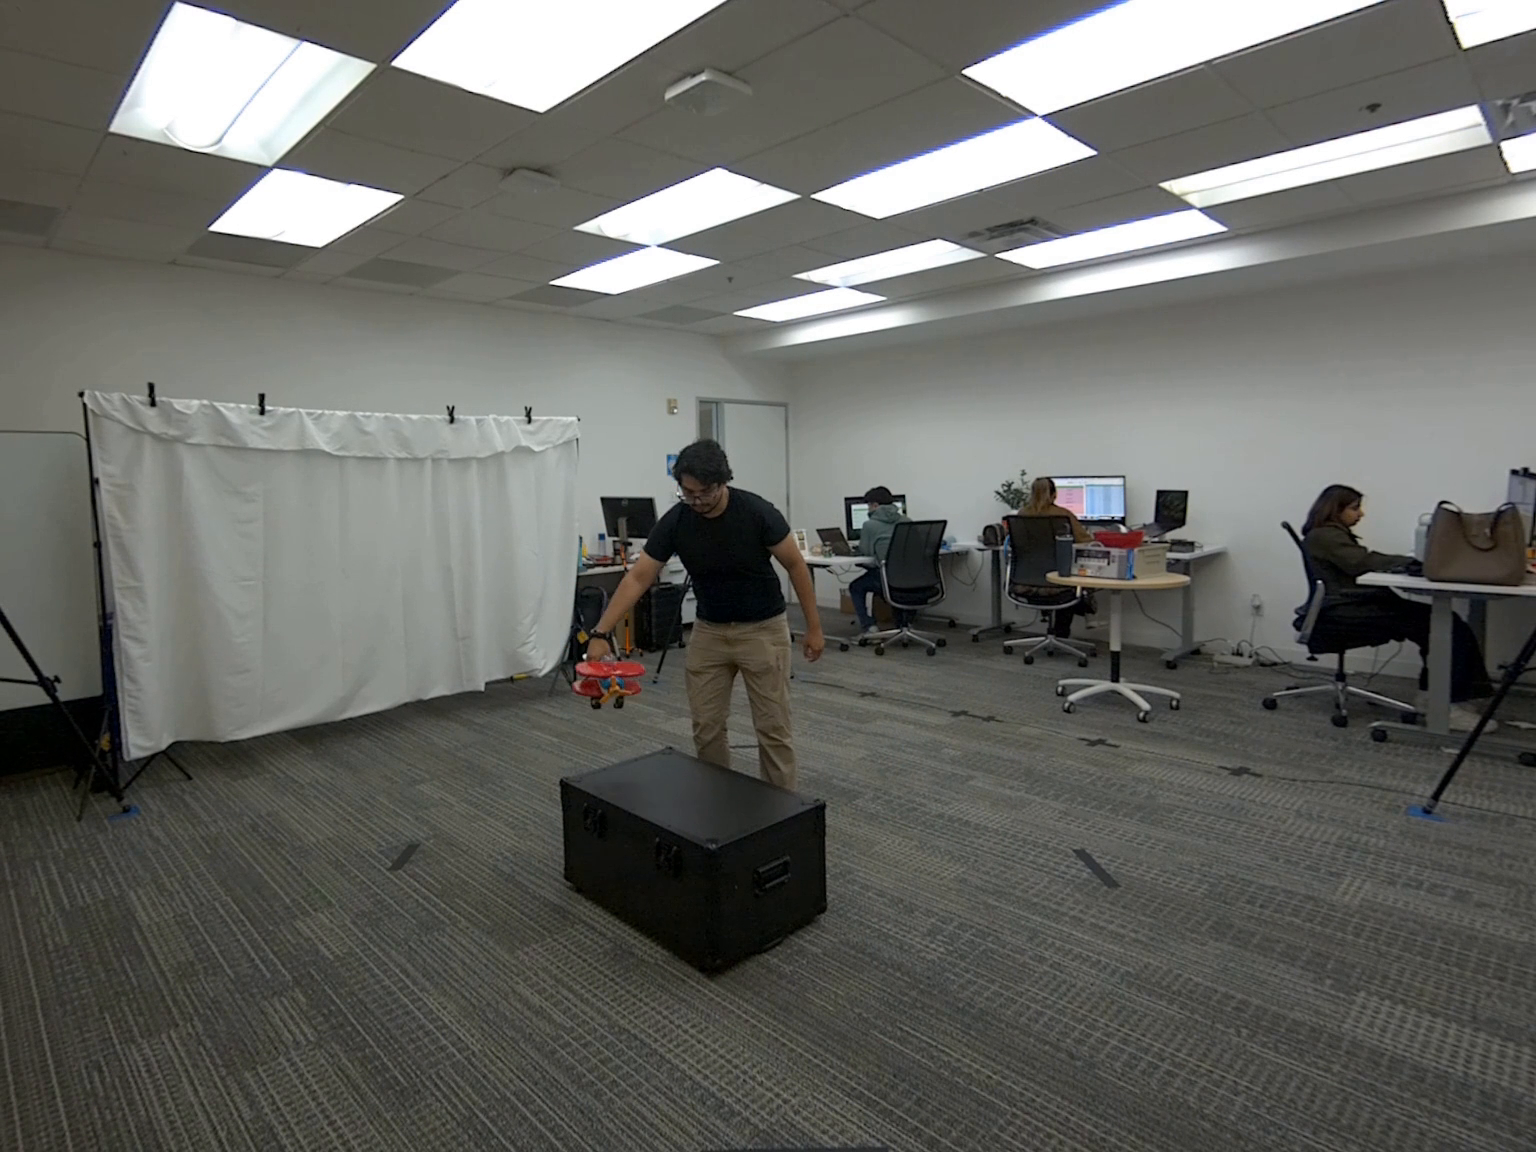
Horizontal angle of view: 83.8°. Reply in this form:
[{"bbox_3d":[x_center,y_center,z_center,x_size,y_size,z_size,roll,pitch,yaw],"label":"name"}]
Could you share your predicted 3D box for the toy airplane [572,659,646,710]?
[{"bbox_3d":[-0.606,0.365,3.134,0.267,0.154,0.247,38,36,25],"label":"toy airplane"}]
